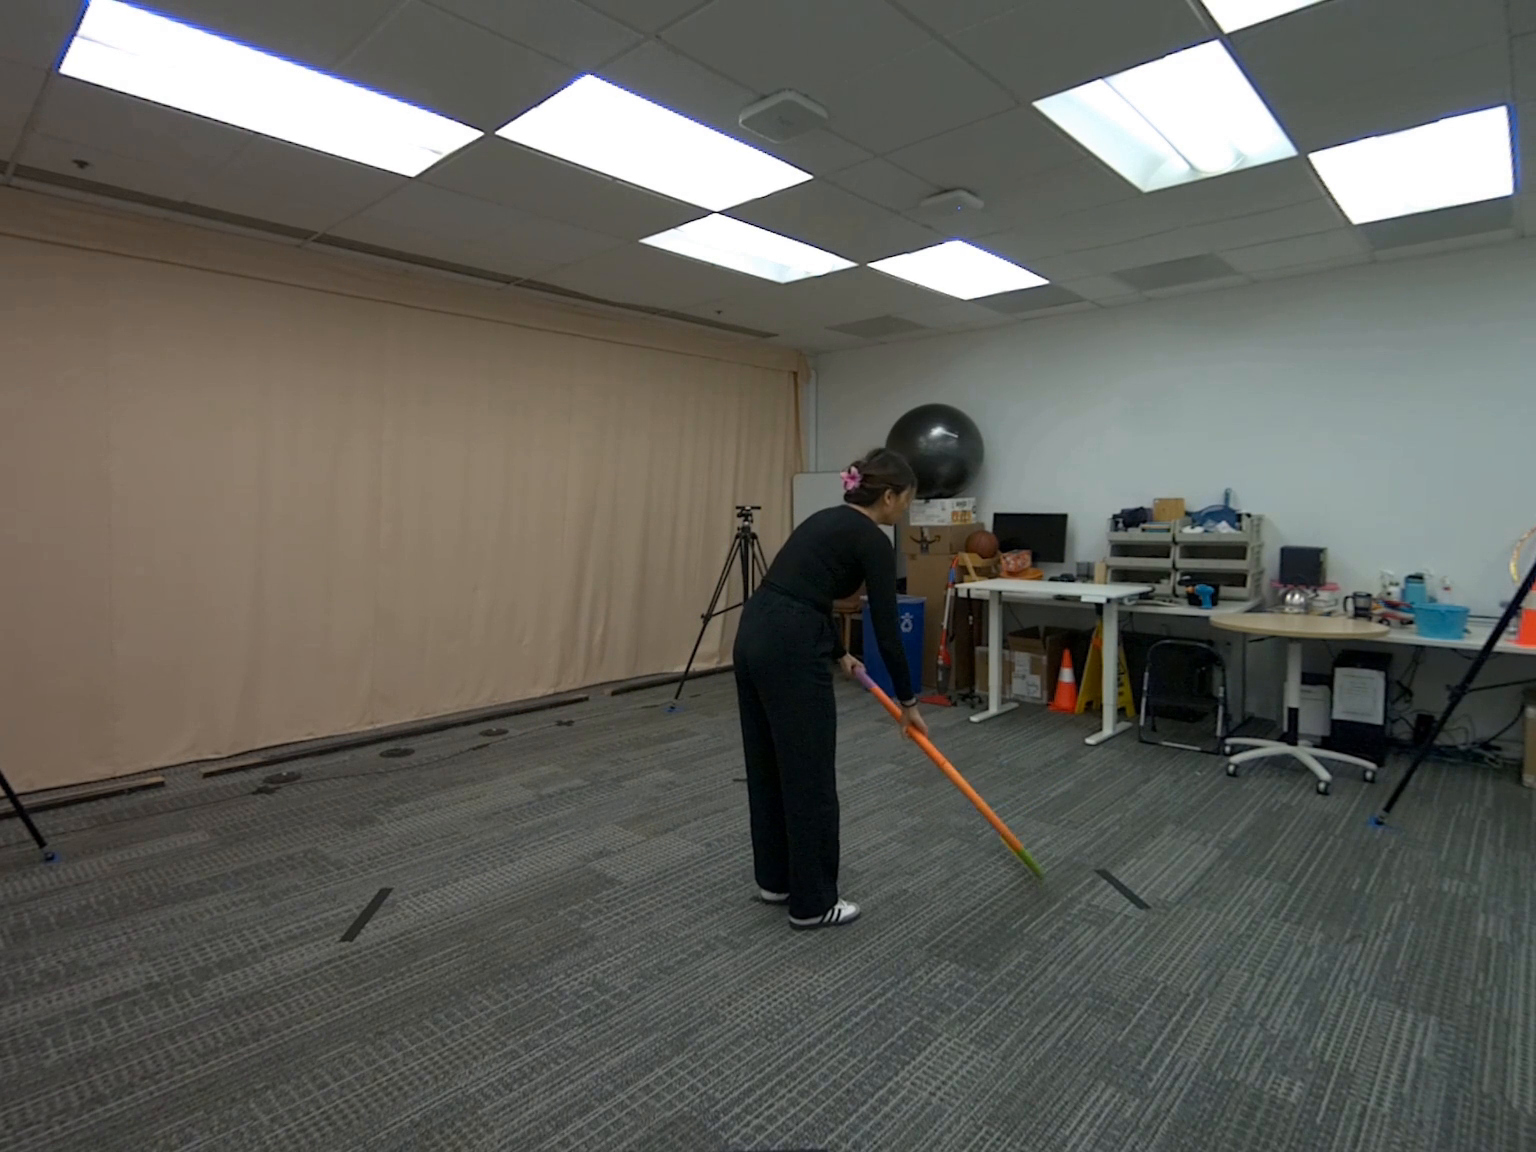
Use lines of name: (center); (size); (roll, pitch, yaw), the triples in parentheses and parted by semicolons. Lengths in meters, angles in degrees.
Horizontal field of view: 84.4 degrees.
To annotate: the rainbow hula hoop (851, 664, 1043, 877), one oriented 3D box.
rainbow hula hoop: (0.667, 0.696, 3.176); (0.051, 0.982, 0.989); (-43, 4, 0)
